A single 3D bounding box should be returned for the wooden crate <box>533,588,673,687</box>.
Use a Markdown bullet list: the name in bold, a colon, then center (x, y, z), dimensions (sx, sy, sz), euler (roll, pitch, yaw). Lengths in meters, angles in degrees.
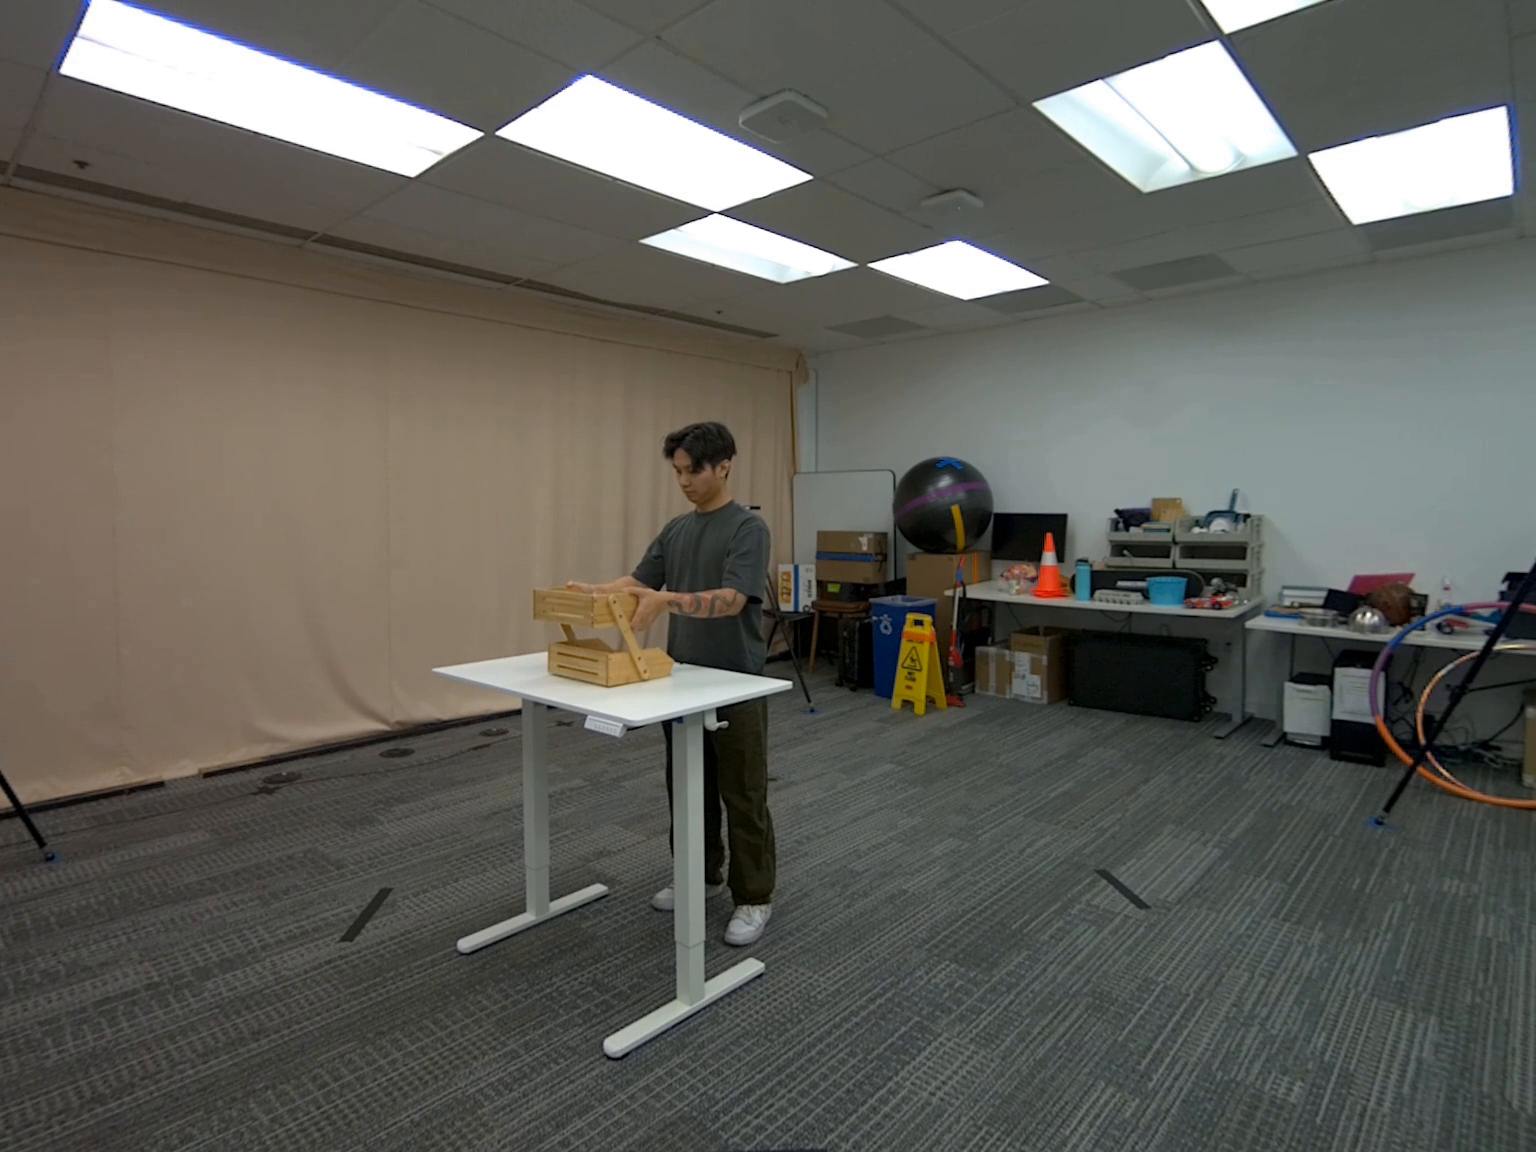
- **wooden crate**: center (-0.495, 0.167, 2.531), dimensions (0.335, 0.273, 0.293), euler (3, 4, 43)
